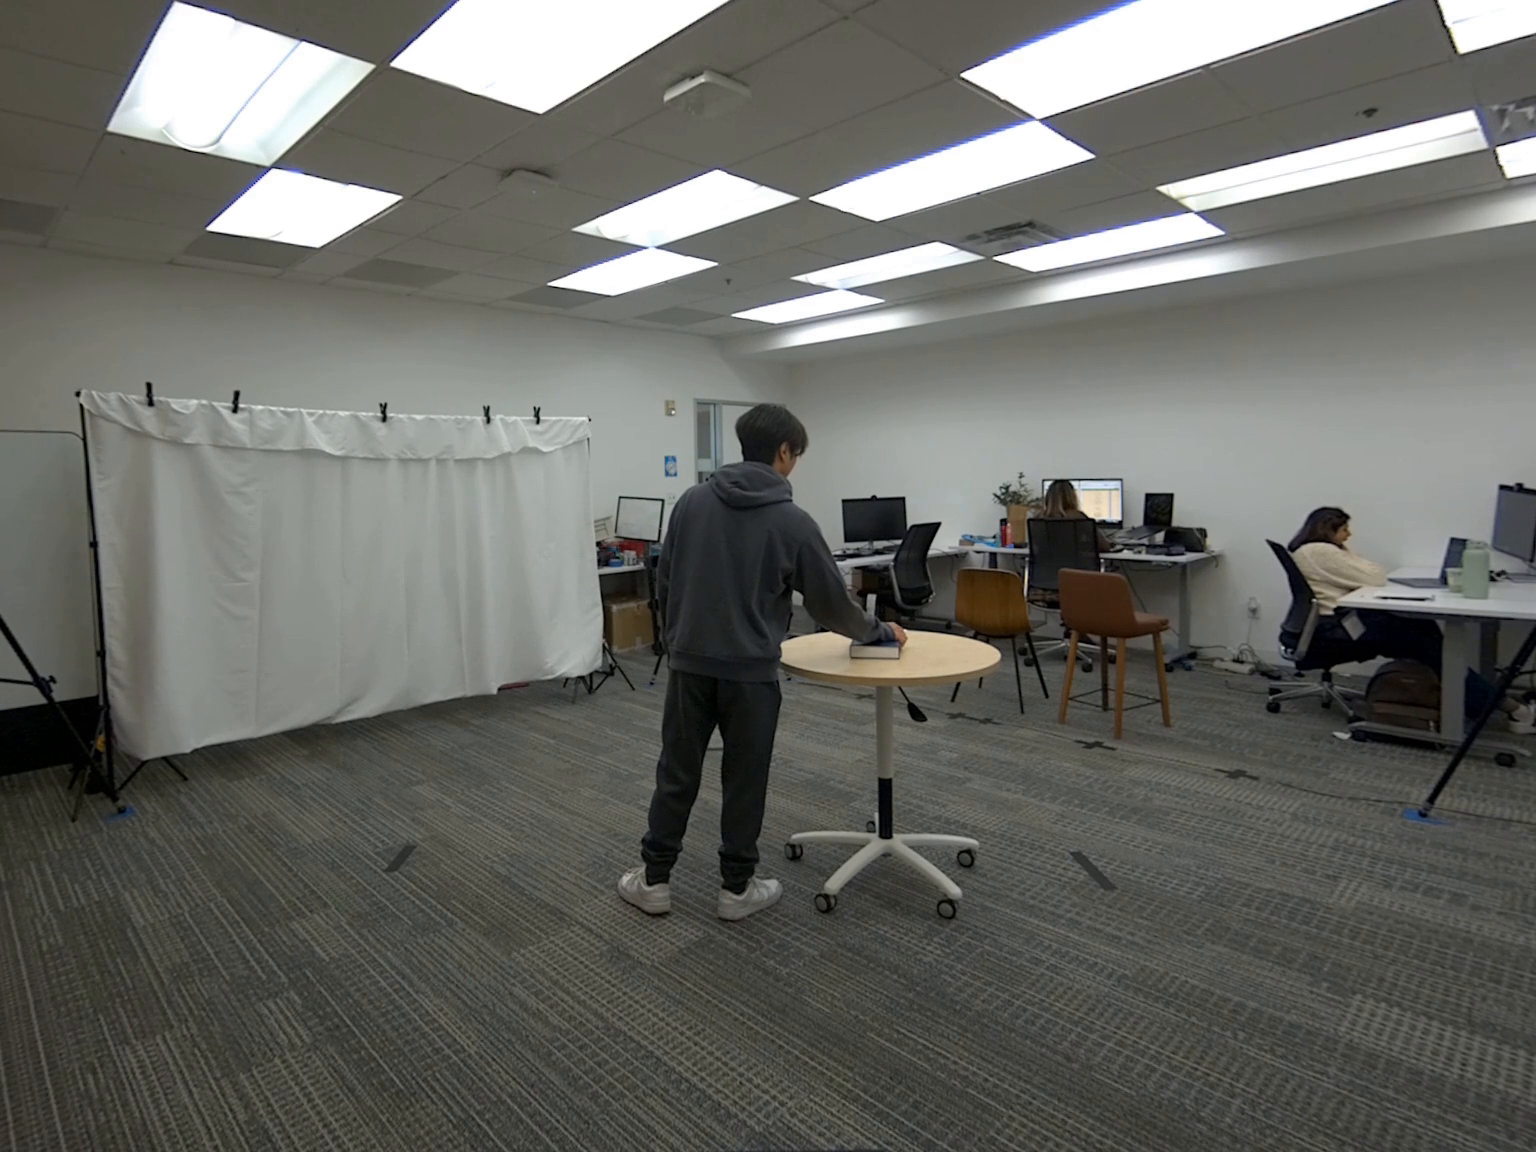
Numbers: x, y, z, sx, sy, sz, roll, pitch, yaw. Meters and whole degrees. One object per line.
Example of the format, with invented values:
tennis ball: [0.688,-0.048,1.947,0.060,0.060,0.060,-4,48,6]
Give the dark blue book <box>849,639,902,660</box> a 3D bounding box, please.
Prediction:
dark blue book: [0.371,0.235,2.937,0.165,0.045,0.244,1,8,9]
